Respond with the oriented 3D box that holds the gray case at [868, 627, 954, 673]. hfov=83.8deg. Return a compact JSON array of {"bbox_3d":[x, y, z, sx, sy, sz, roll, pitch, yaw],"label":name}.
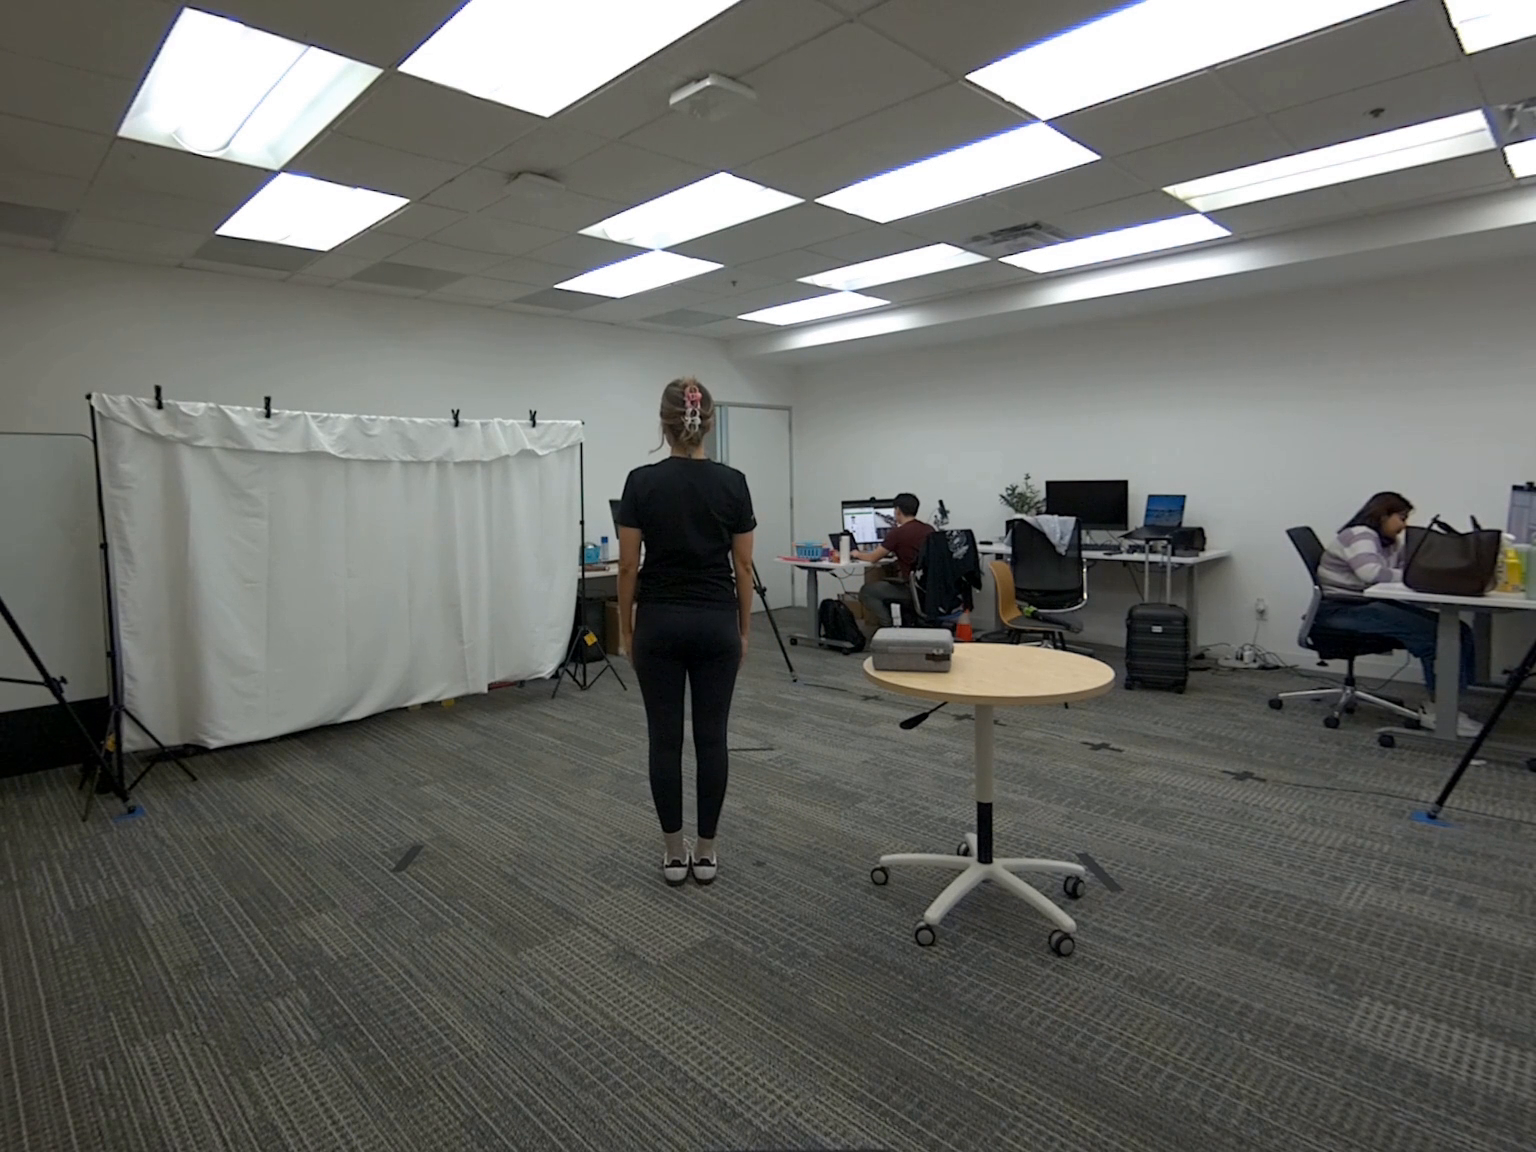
[{"bbox_3d":[0.465,0.238,2.809,0.261,0.104,0.258,-1,5,15],"label":"gray case"}]
